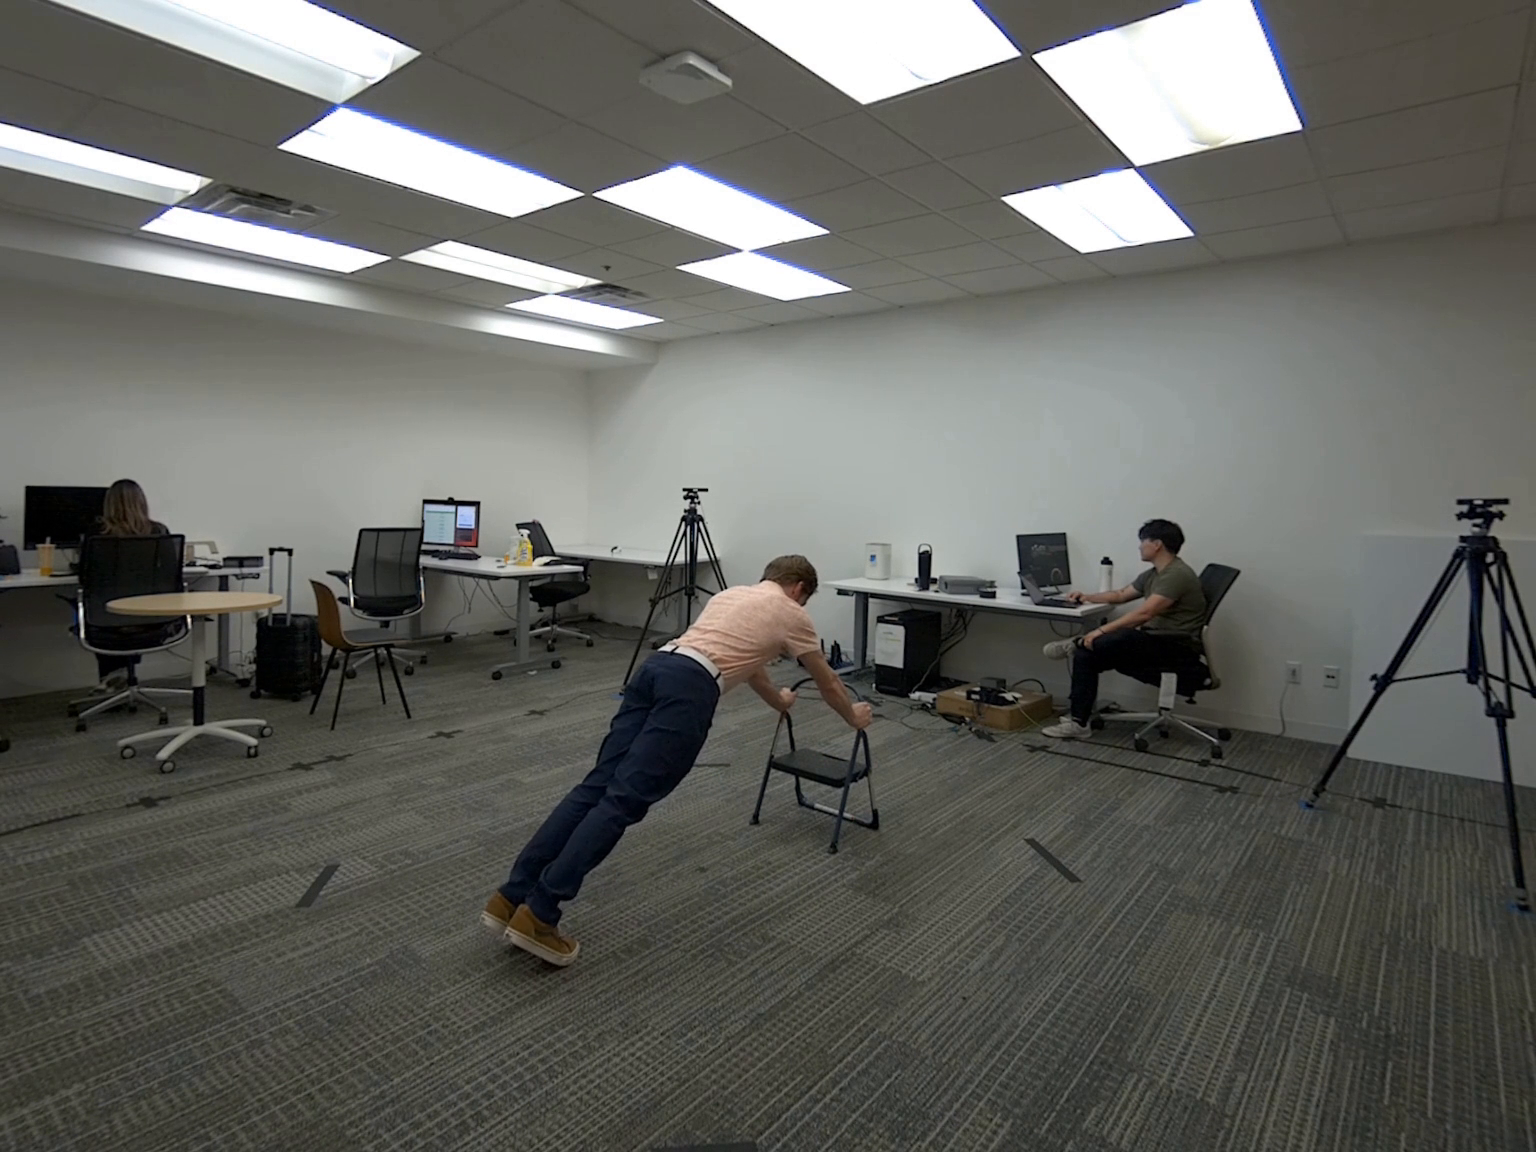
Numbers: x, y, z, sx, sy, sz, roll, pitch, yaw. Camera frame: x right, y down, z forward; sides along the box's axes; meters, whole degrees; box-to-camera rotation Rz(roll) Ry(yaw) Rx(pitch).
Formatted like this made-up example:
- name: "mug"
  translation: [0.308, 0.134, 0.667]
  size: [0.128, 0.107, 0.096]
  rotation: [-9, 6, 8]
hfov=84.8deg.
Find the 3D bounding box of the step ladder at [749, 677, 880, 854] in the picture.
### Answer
- name: "step ladder"
  translation: [0.195, 0.737, 3.522]
  size: [0.445, 0.604, 0.339]
  rotation: [5, 4, 40]
